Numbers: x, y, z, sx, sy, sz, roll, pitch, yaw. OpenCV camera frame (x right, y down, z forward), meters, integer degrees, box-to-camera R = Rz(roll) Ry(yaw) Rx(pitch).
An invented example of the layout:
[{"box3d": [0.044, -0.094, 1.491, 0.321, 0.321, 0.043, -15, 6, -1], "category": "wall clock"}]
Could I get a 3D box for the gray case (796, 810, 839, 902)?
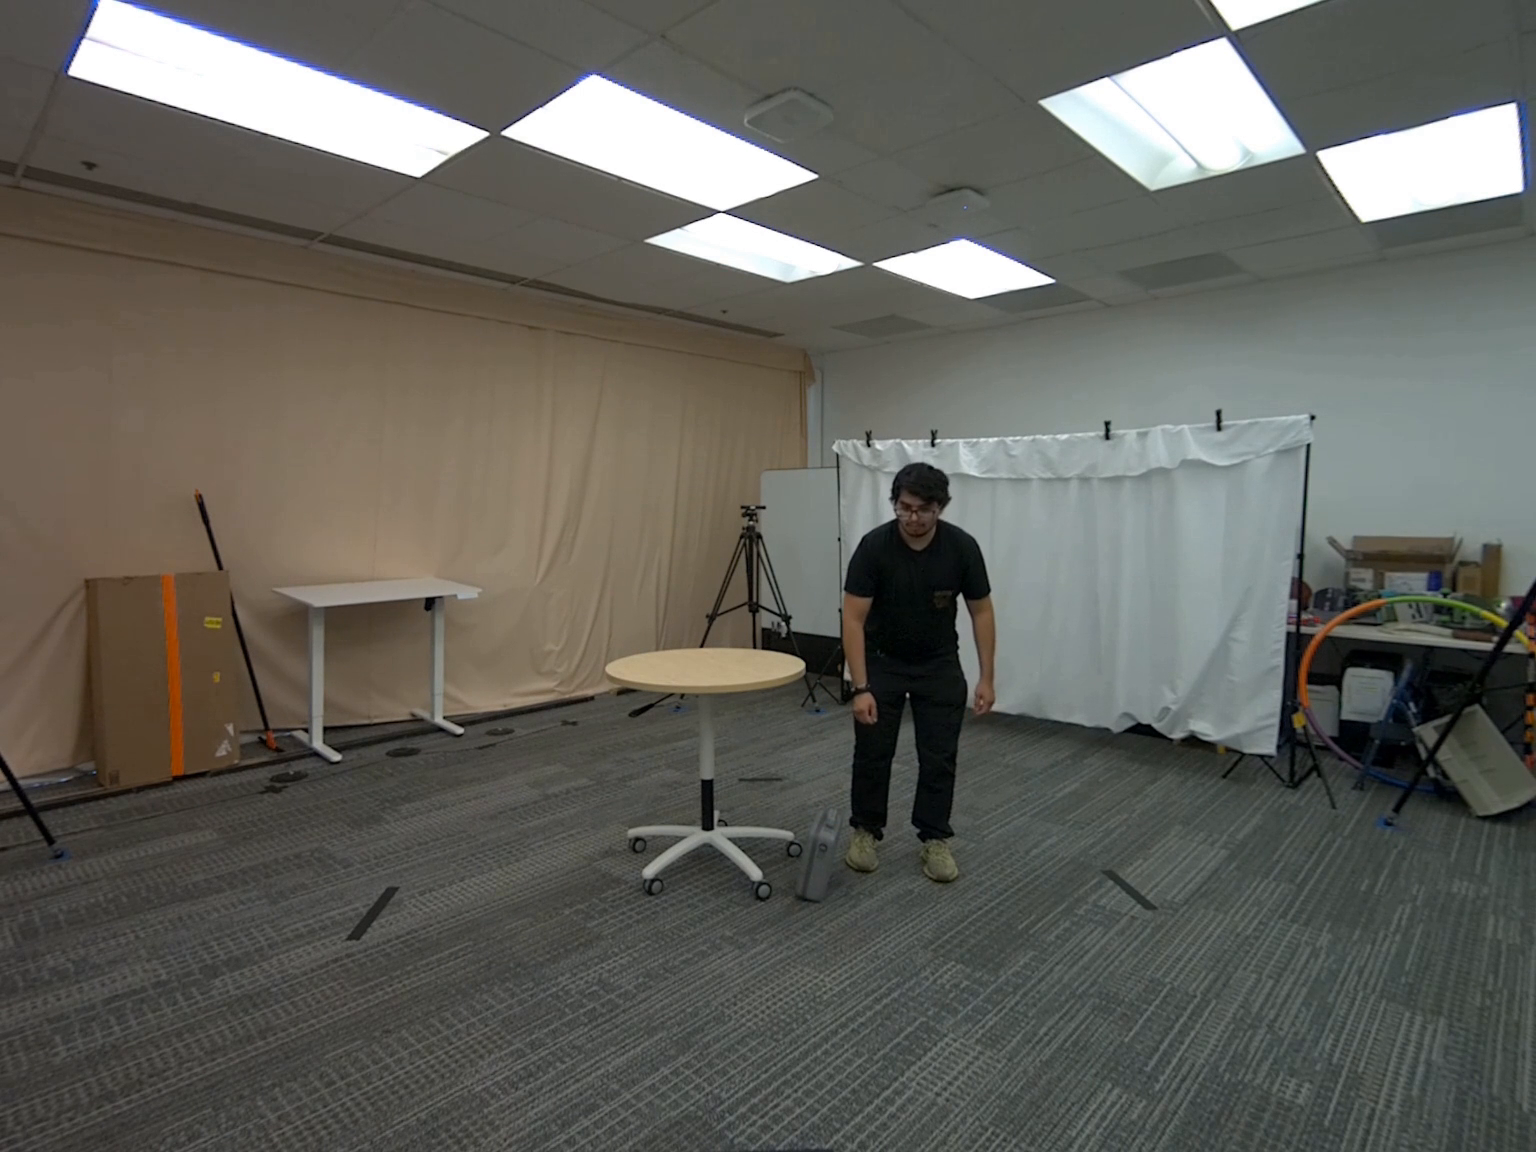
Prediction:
[{"box3d": [0.191, 1.001, 3.056, 0.106, 0.260, 0.254, 13, 8, 12], "category": "gray case"}]
